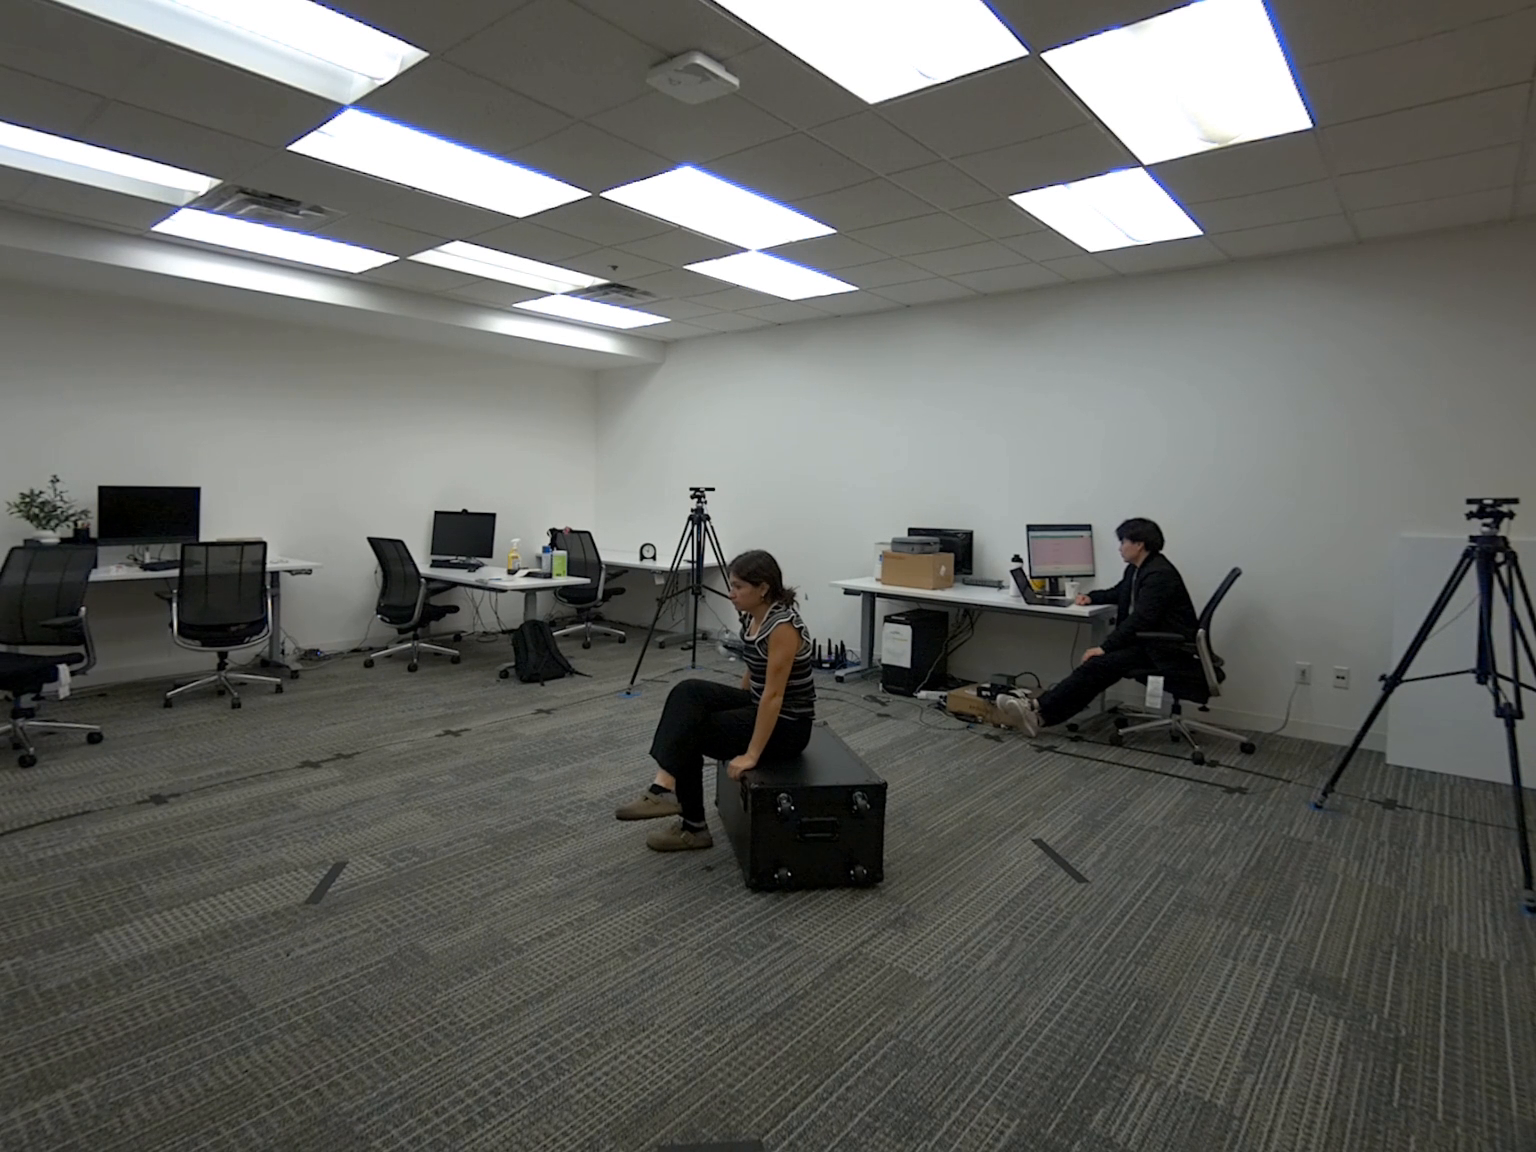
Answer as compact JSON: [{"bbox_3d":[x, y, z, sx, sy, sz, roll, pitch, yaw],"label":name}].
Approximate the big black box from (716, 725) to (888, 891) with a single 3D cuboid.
[{"bbox_3d":[0.088,0.862,3.284,0.515,0.395,0.875,0,5,-12],"label":"big black box"}]
